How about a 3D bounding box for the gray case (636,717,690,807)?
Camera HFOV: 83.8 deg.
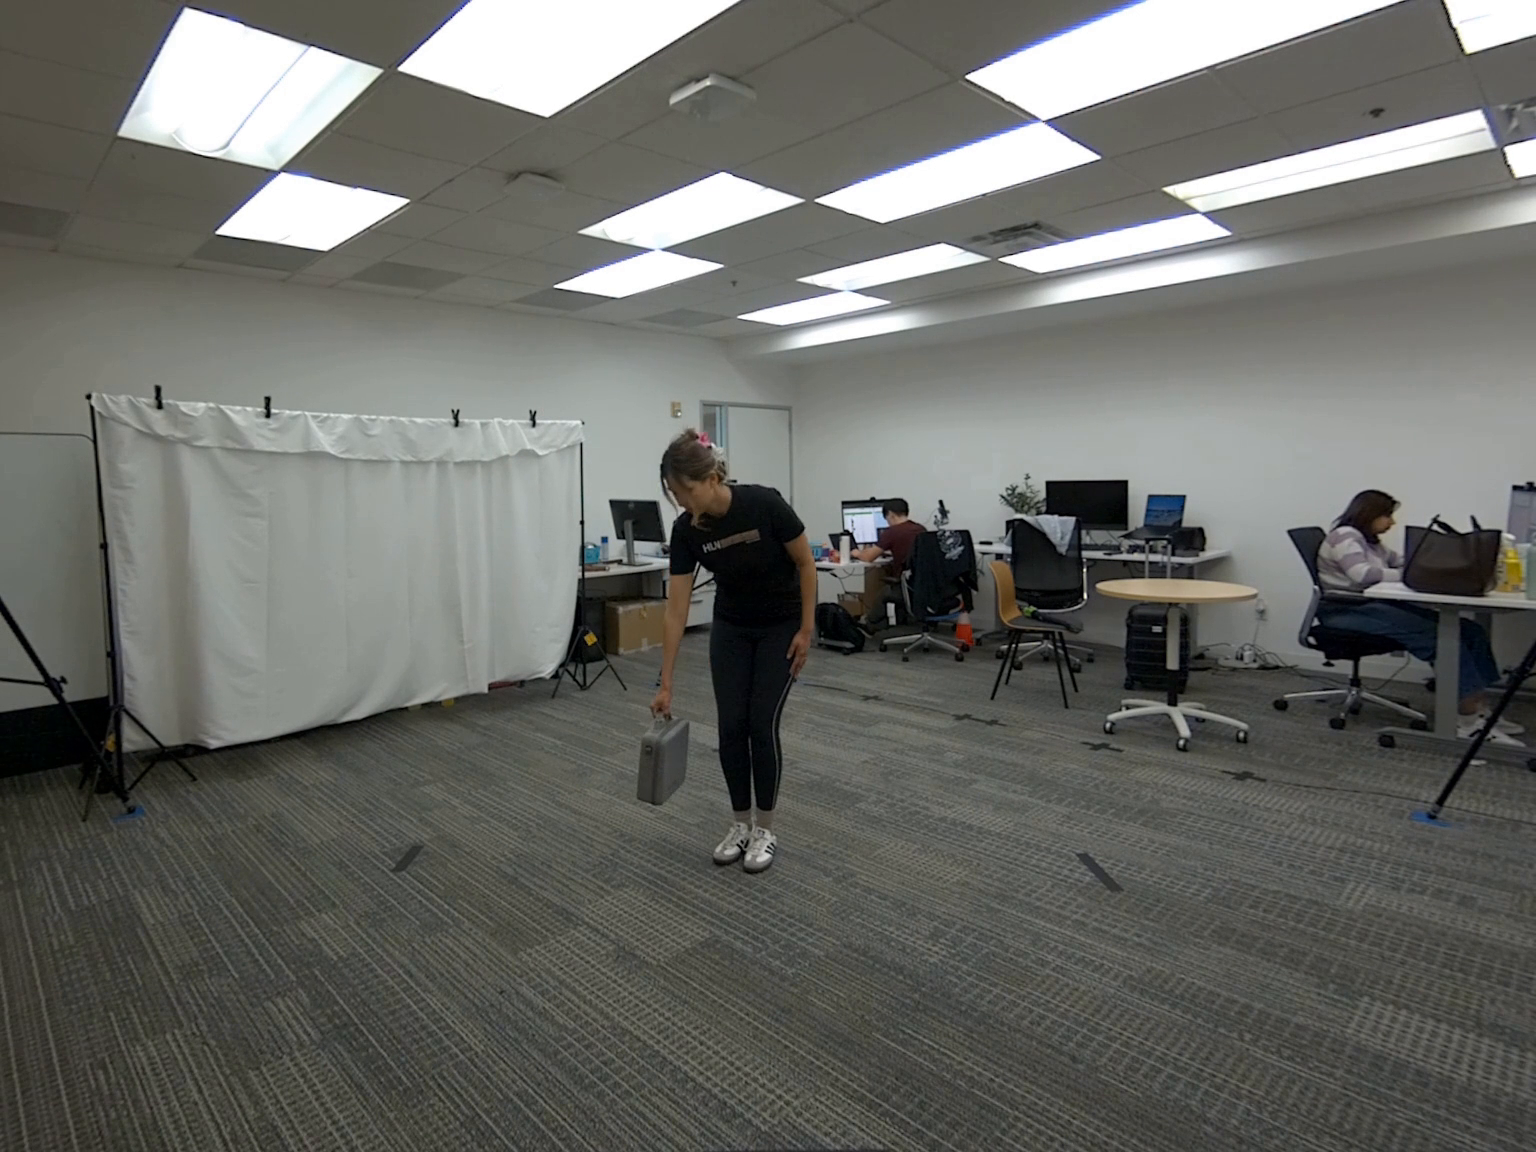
[{"bbox_3d":[-0.363,0.651,3.046,0.106,0.259,0.254,6,7,15],"label":"gray case"}]
